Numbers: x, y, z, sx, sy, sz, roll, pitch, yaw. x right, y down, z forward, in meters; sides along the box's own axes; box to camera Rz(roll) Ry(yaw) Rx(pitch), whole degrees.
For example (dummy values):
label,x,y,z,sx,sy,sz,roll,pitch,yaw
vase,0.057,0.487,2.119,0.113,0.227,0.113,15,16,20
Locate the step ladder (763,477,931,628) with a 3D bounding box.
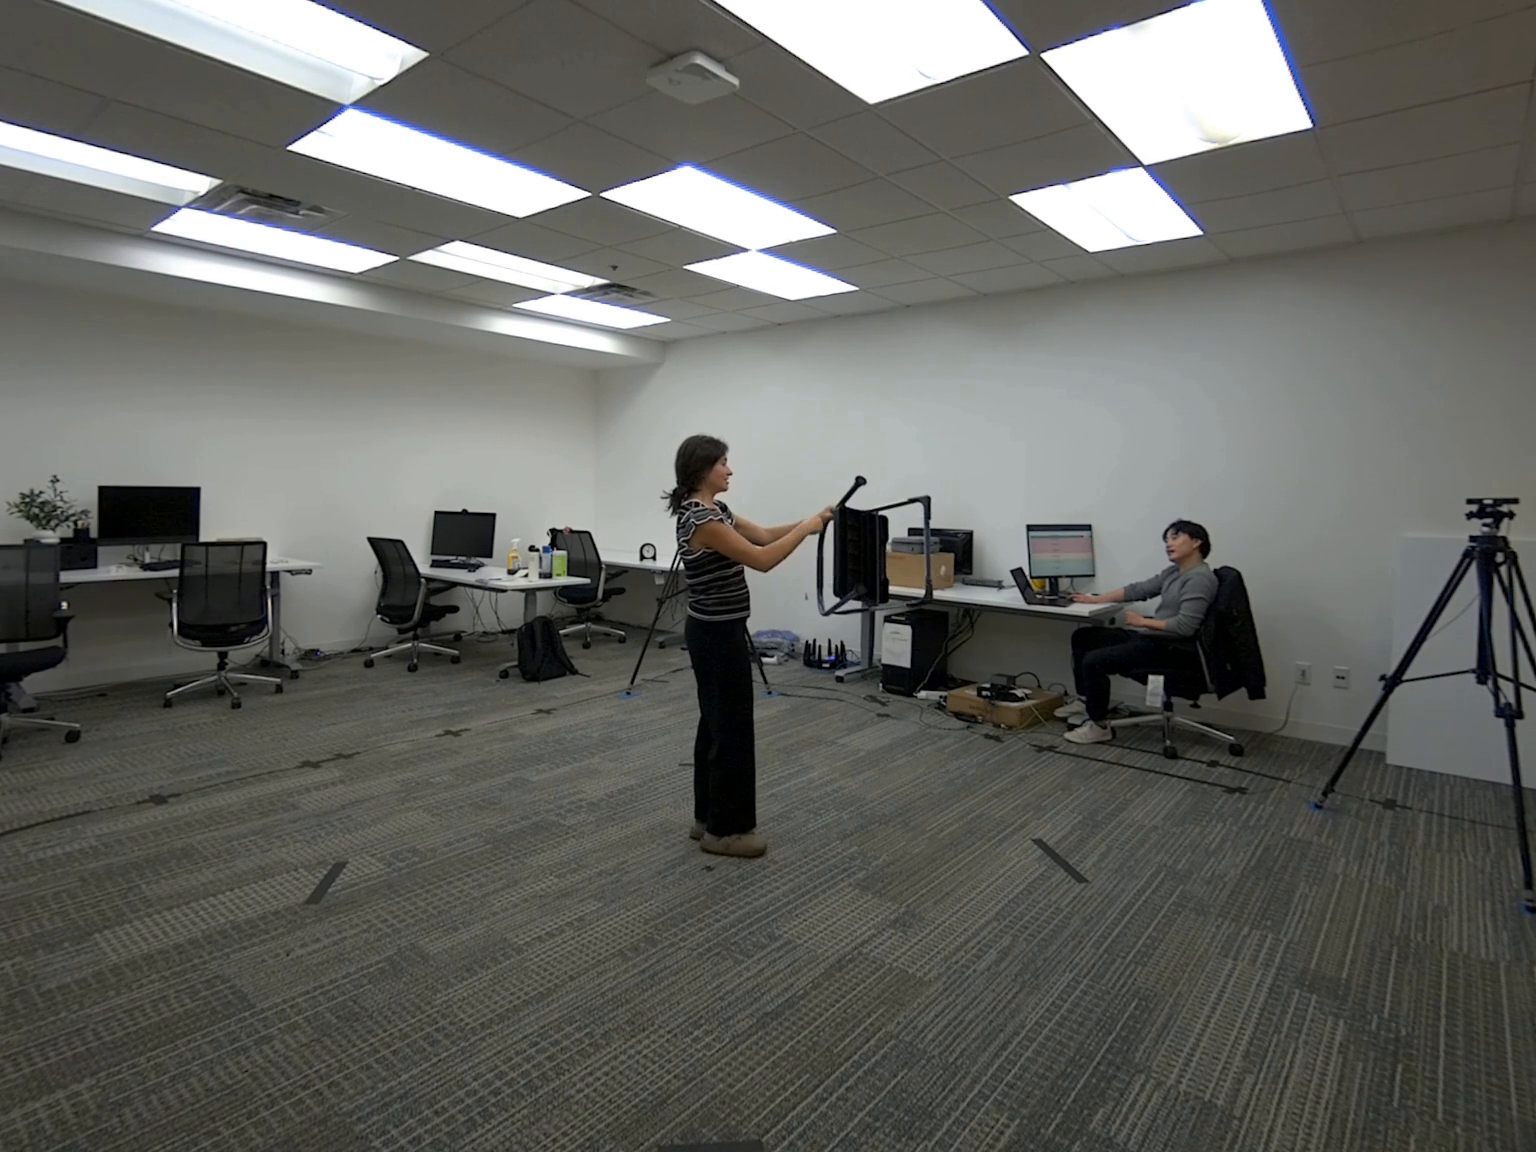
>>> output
label,x,y,z,sx,sy,sz,roll,pitch,yaw
step ladder,0.295,-0.070,3.297,0.339,0.436,0.616,11,-16,-28
